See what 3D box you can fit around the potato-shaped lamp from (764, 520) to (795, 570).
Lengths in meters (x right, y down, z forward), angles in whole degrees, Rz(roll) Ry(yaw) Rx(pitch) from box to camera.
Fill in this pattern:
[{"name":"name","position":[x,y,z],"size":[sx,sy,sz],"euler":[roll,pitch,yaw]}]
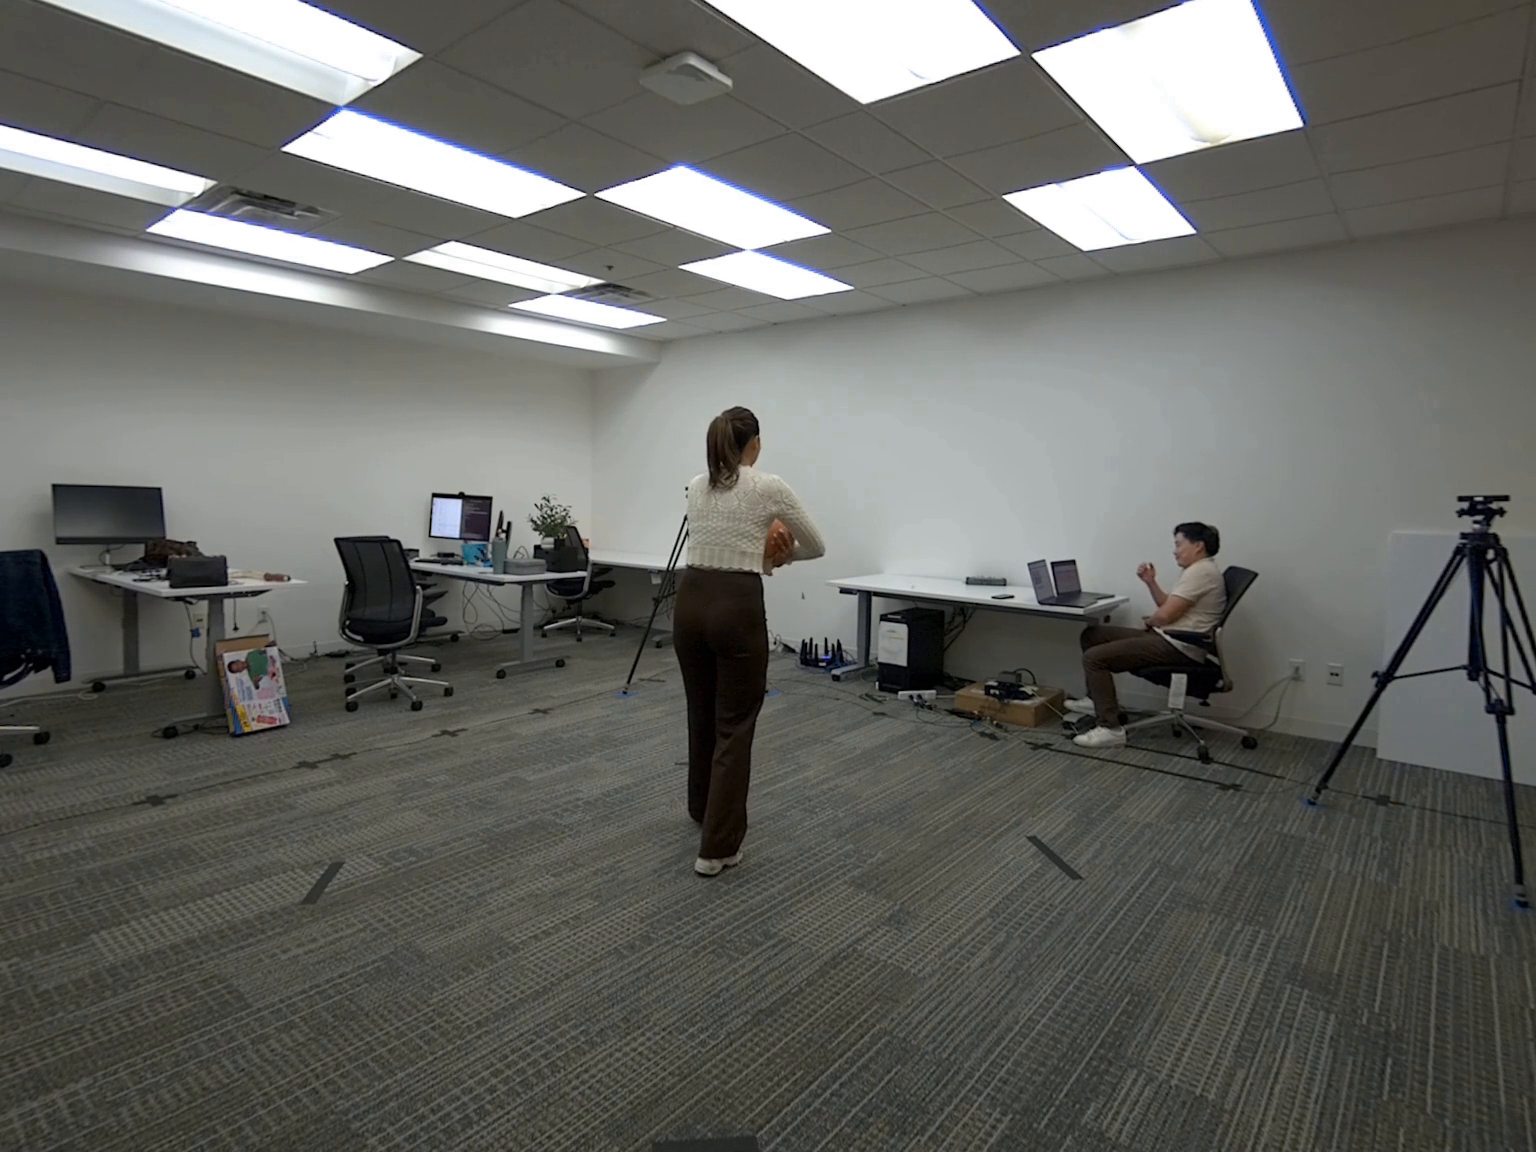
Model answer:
[{"name":"potato-shaped lamp","position":[-0.003,-0.174,3.401],"size":[0.198,0.177,0.159],"euler":[-43,-27,14]}]
